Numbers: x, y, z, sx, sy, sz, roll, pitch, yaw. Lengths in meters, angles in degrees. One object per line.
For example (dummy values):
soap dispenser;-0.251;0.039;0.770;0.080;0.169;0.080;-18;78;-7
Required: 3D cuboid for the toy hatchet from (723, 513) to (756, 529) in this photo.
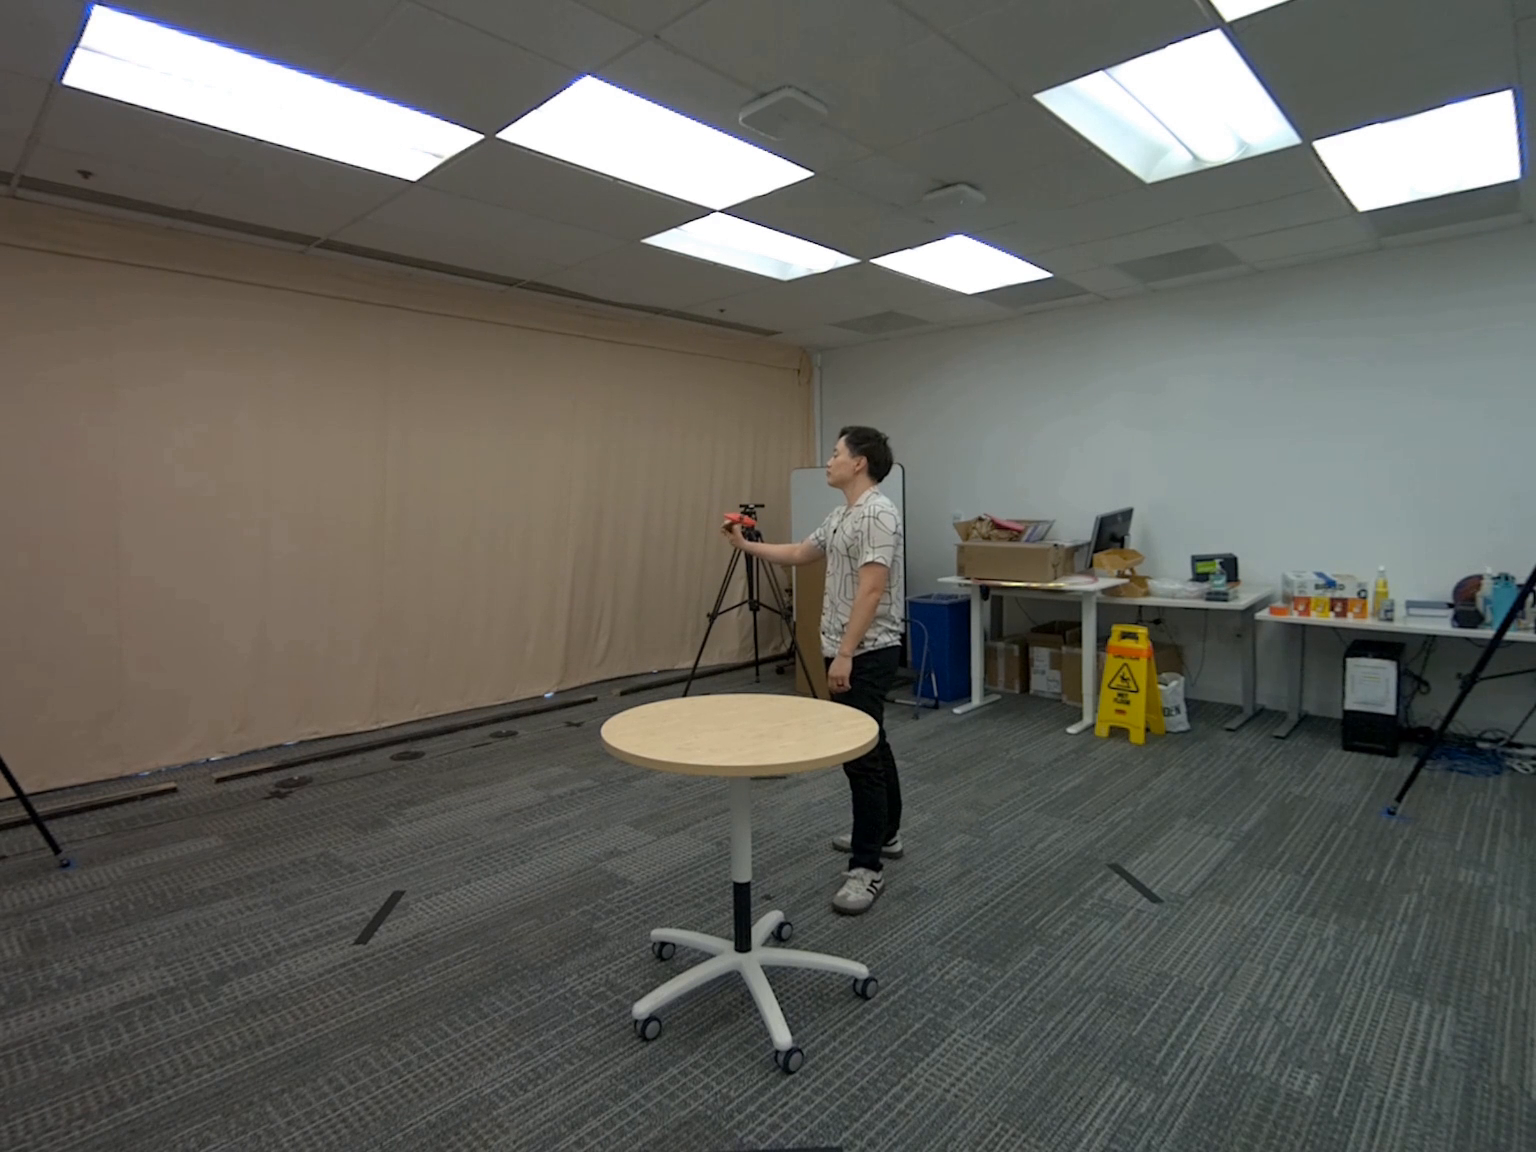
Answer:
toy hatchet;-0.116;-0.207;3.386;0.132;0.030;0.267;8;-11;3
